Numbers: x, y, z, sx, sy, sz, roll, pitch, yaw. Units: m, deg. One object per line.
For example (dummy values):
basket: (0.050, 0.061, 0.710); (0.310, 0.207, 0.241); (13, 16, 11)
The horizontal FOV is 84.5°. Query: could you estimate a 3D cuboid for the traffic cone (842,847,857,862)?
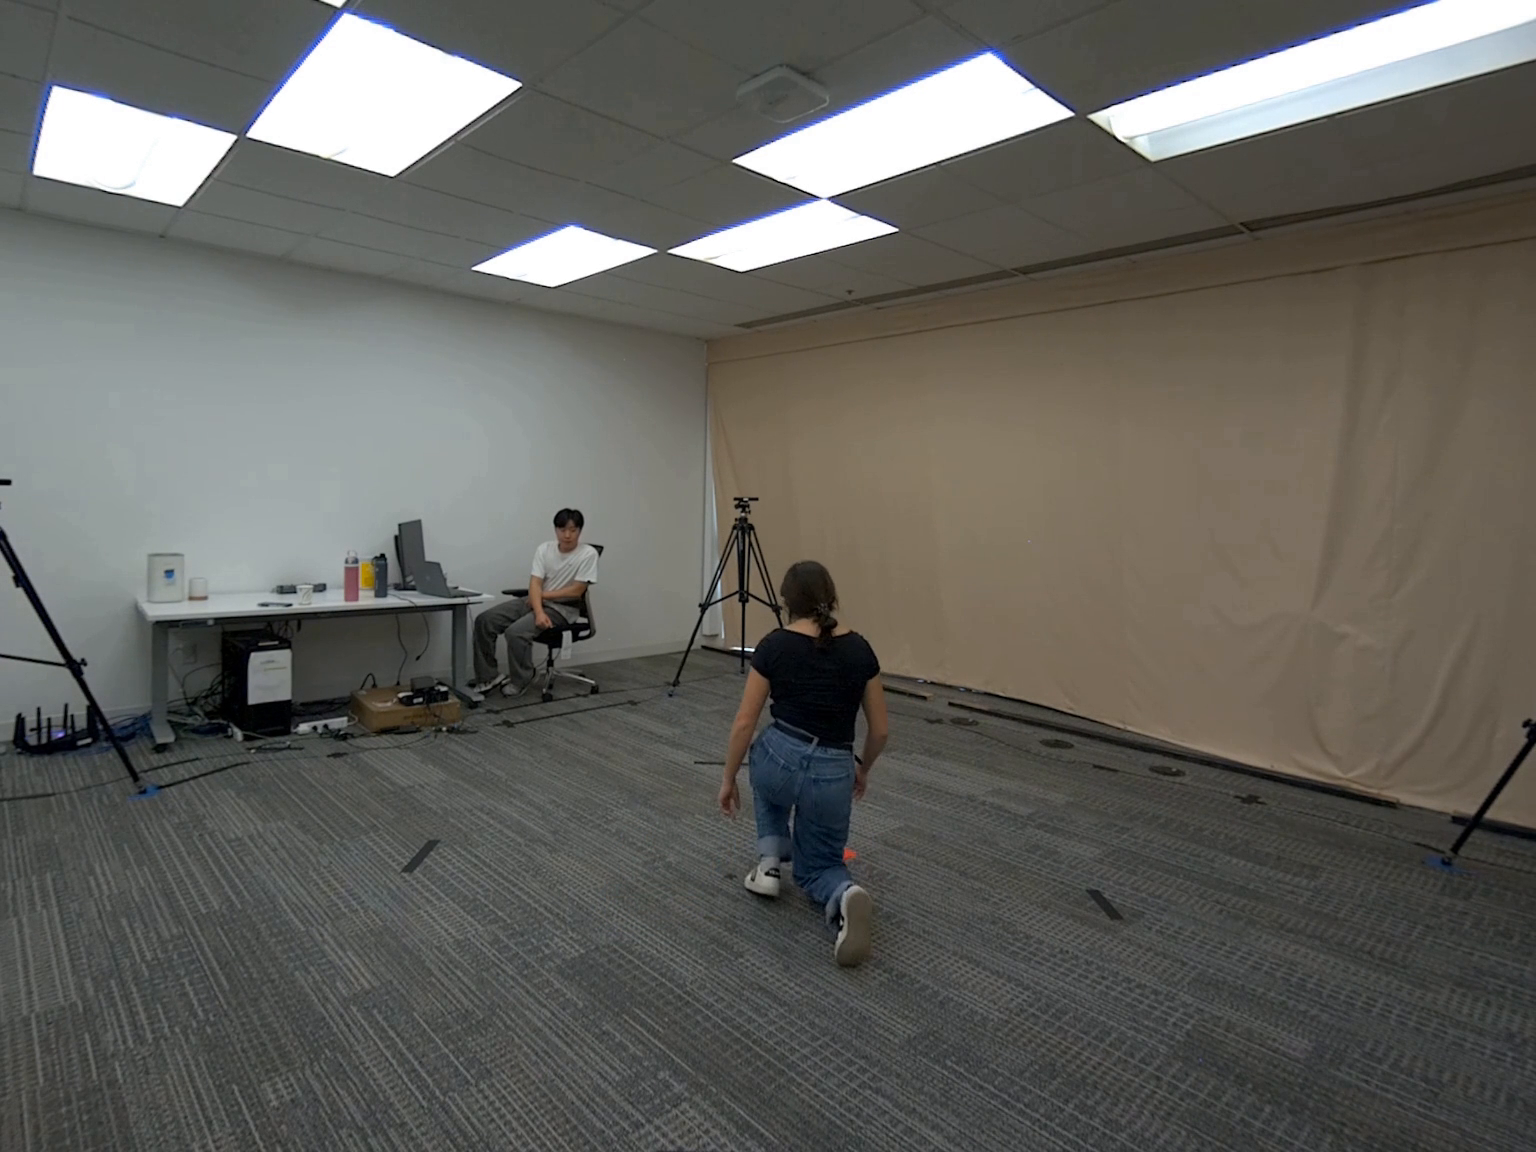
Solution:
traffic cone: (0.210, 0.914, 3.327); (0.210, 0.383, 0.199); (4, 4, 45)
